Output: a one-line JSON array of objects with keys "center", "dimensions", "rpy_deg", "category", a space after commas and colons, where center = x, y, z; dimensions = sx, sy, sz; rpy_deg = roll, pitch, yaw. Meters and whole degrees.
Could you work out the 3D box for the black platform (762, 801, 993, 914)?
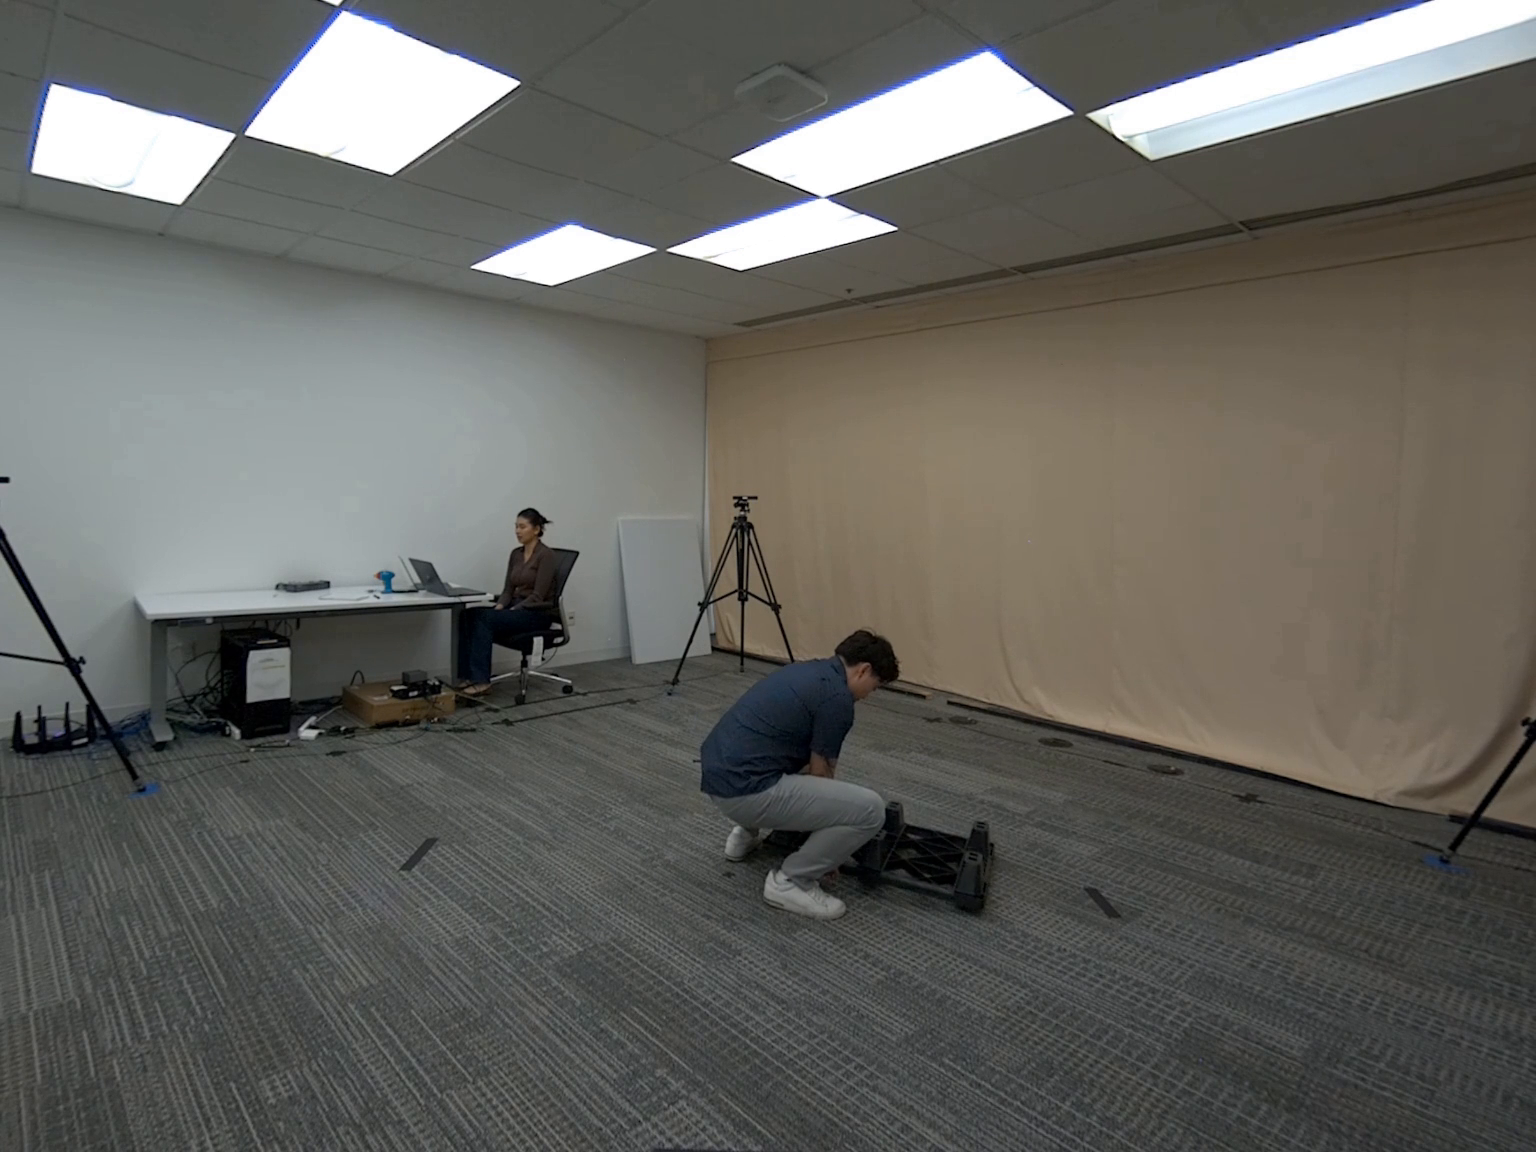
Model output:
[{"center": [0.444, 0.998, 3.241], "dimensions": [0.819, 0.143, 0.596], "rpy_deg": [8, 4, 19], "category": "black platform"}]
